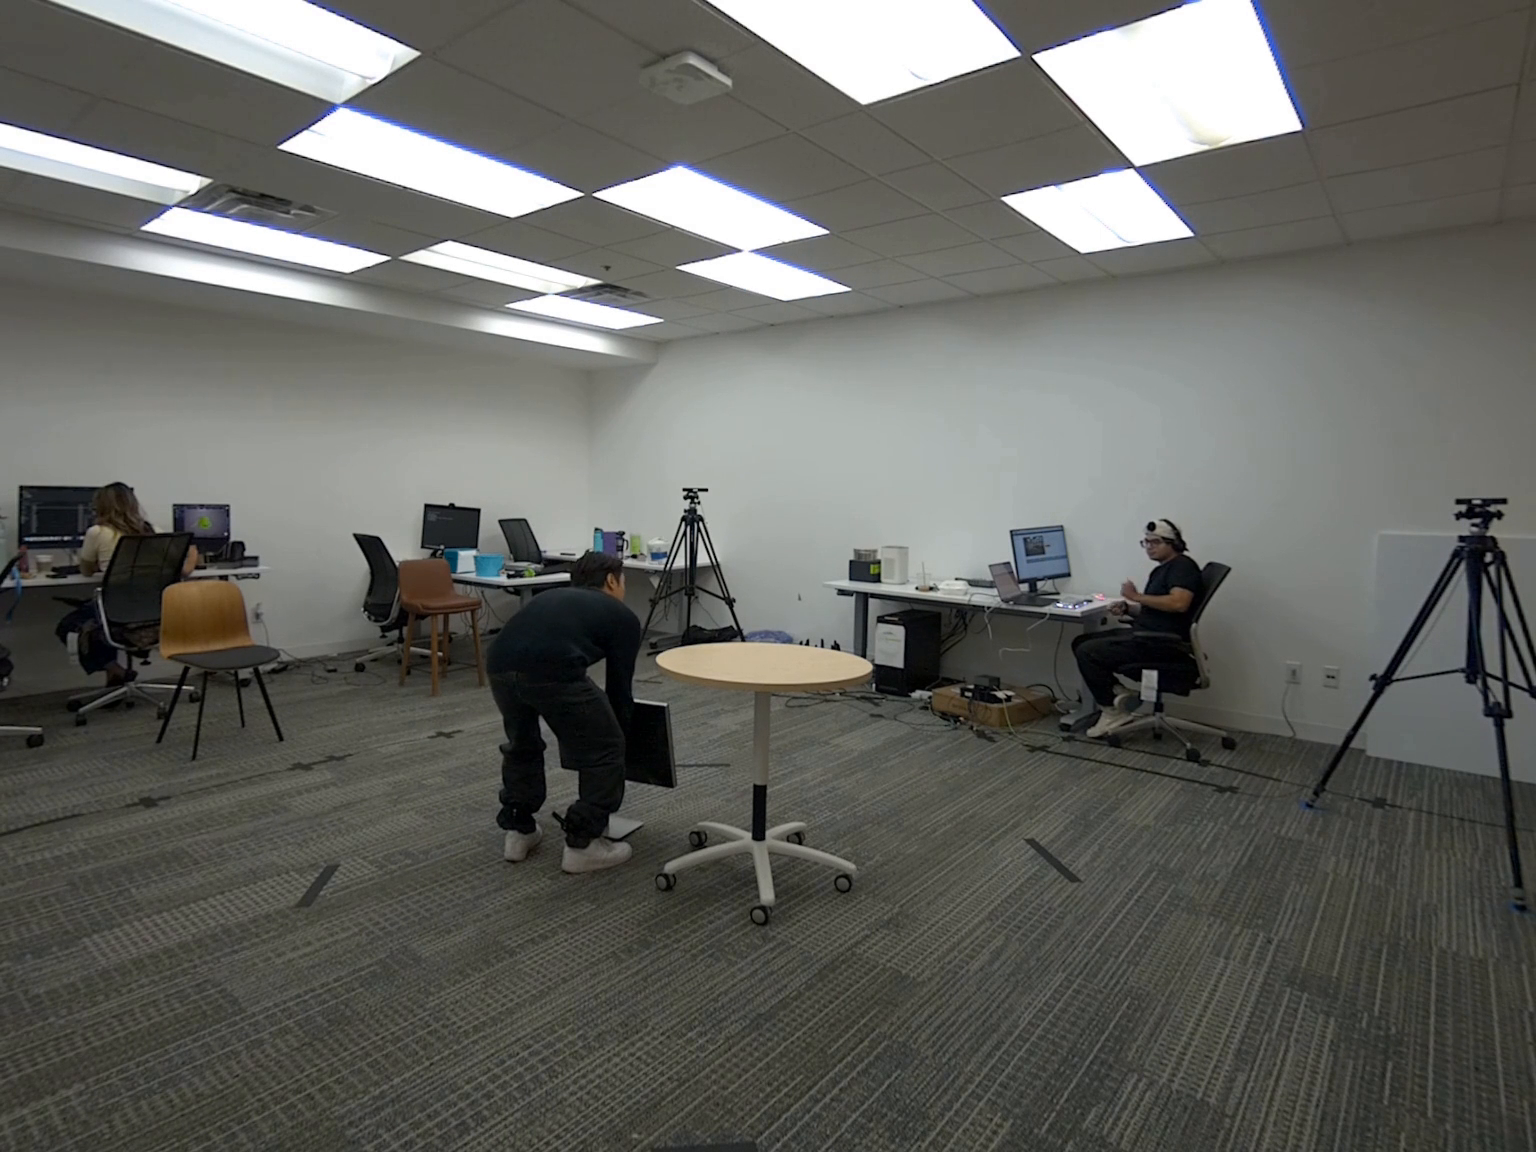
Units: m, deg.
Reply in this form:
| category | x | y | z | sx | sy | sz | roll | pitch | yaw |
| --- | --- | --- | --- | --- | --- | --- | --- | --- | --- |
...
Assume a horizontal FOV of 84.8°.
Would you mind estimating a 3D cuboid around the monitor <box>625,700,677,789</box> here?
| category | x | y | z | sx | sy | sz | roll | pitch | yaw |
| --- | --- | --- | --- | --- | --- | --- | --- | --- | --- |
| monitor | -0.668 | 0.759 | 3.469 | 0.553 | 0.522 | 0.182 | 2 | 2 | 25 |
